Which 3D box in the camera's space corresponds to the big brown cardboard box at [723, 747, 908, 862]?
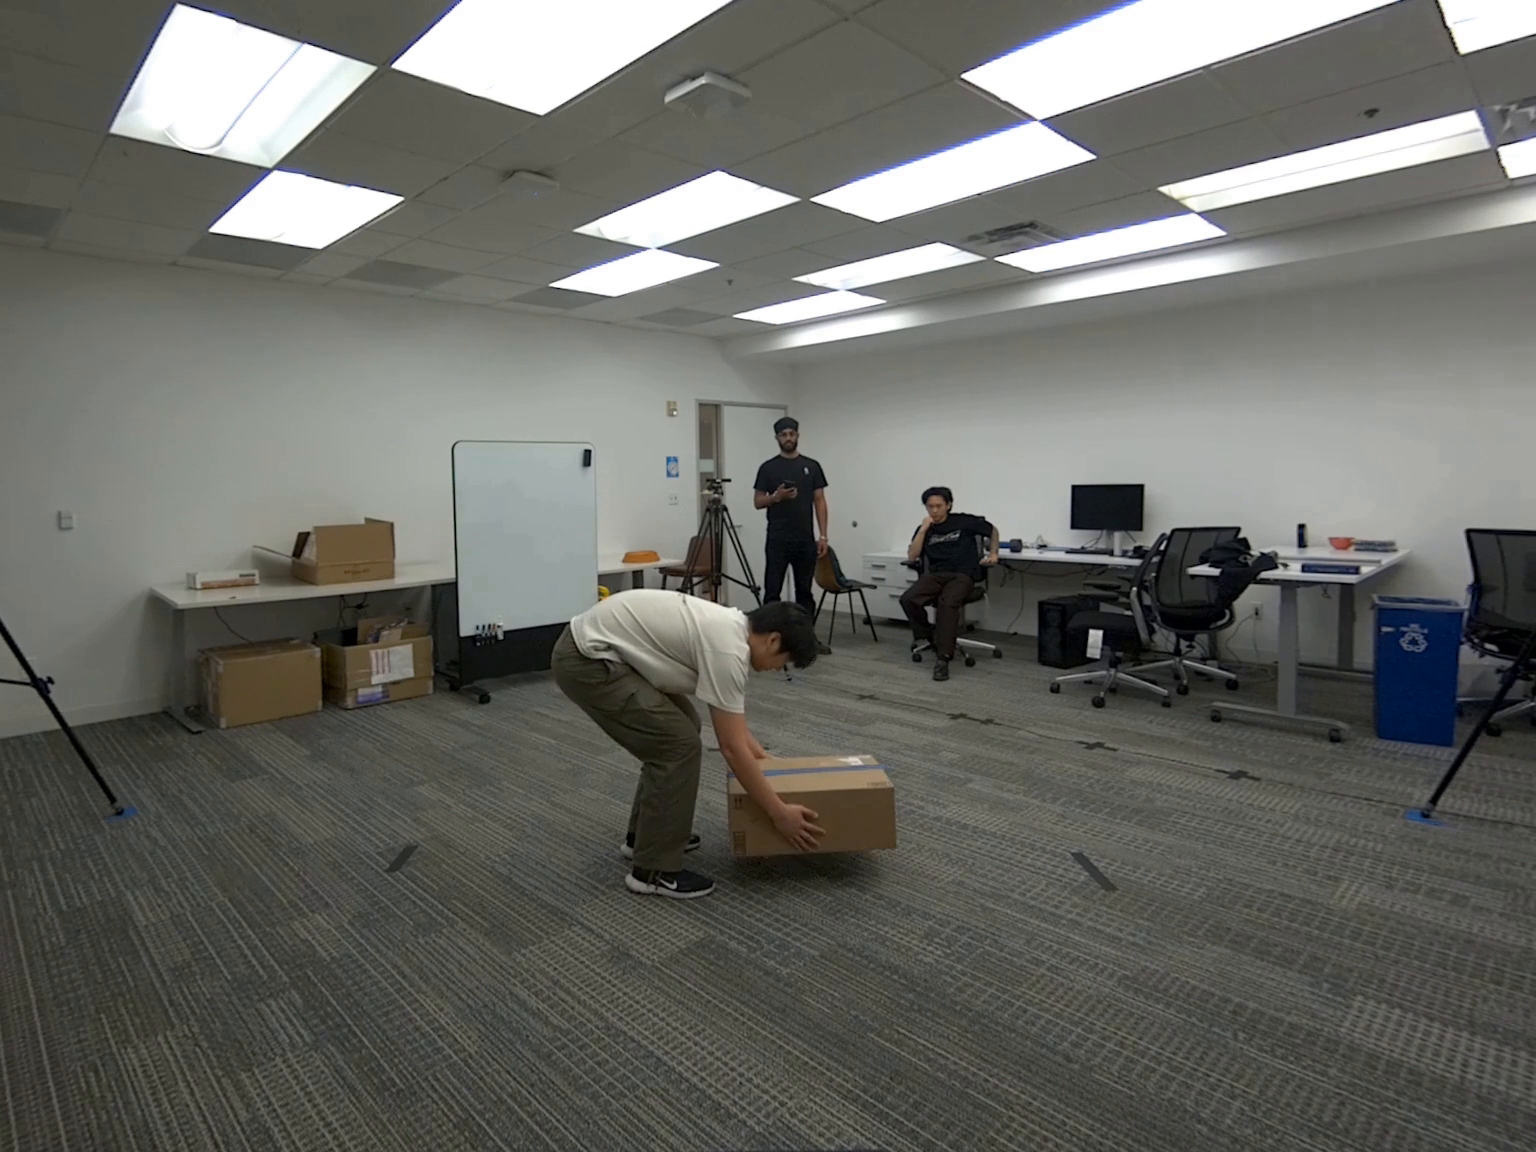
[{"bbox_3d":[0.148,0.807,3.086,0.587,0.233,0.419,-3,3,-3],"label":"big brown cardboard box"}]
